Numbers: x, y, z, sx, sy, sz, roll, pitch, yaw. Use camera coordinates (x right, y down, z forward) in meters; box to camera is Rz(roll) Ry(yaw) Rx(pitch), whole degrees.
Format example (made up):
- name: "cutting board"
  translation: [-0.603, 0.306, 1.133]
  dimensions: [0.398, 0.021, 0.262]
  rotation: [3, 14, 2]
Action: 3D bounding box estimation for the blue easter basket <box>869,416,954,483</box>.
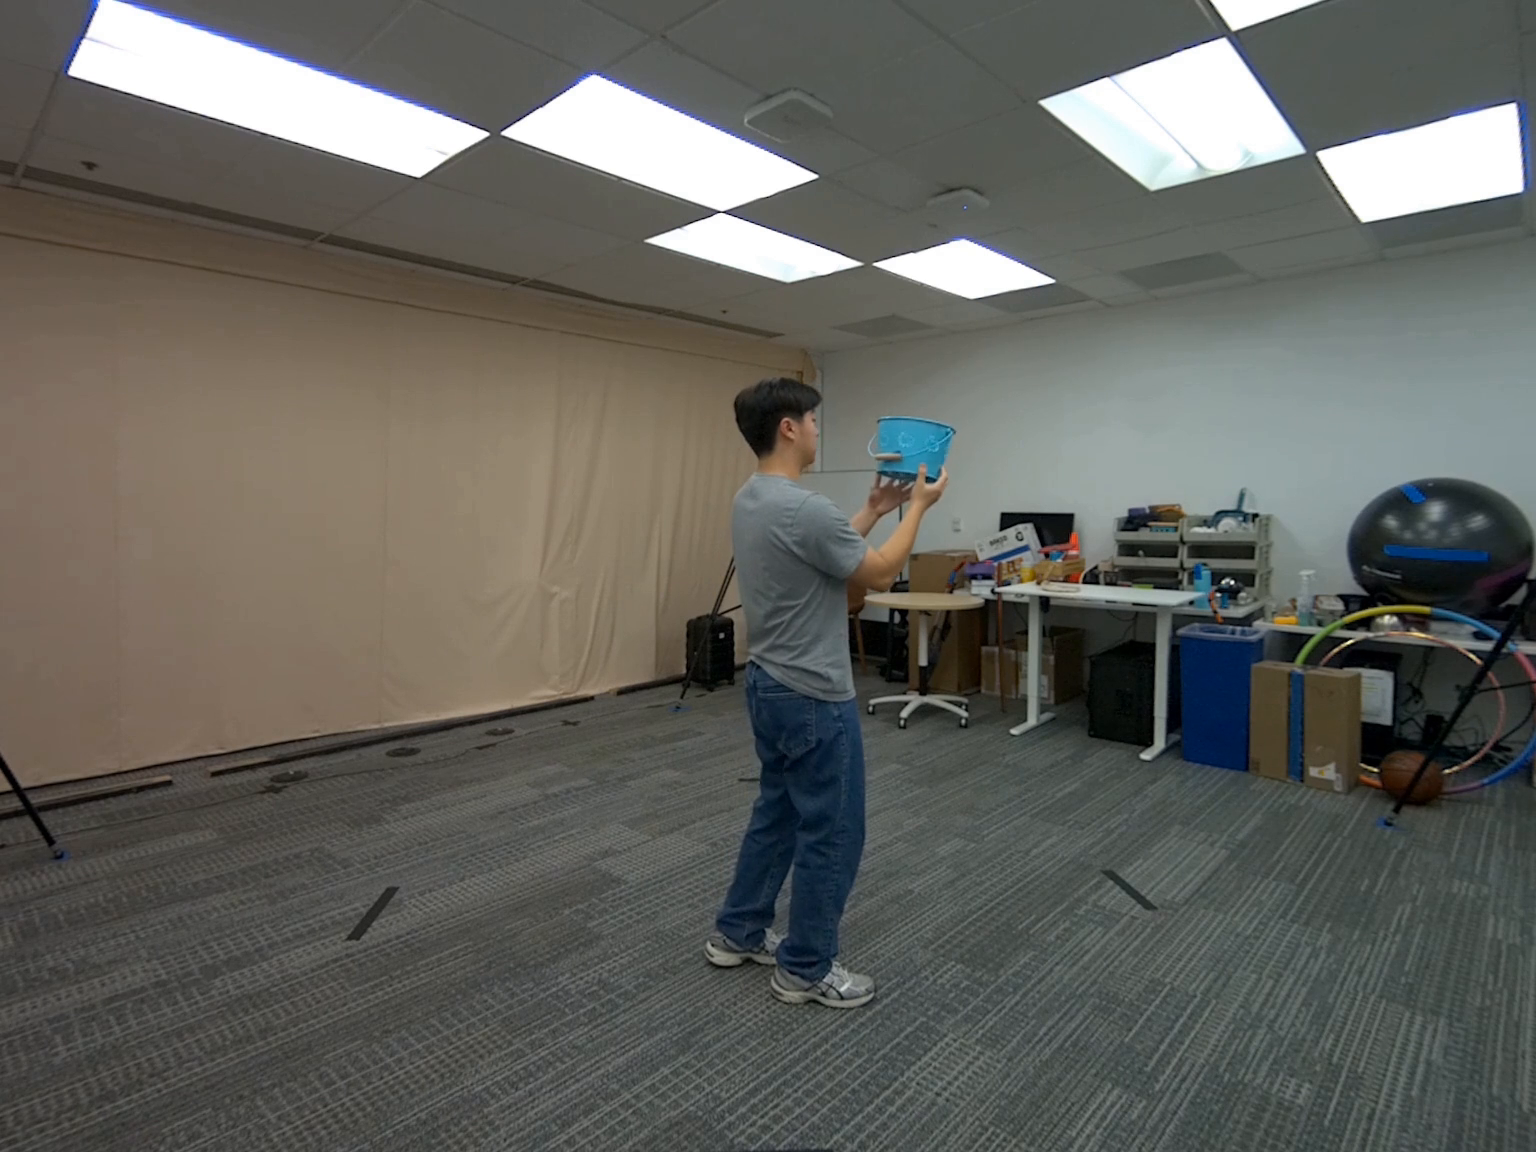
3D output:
- name: "blue easter basket"
  translation: [0.423, -0.368, 2.478]
  dimensions: [0.243, 0.156, 0.244]
  rotation: [10, 0, -2]
